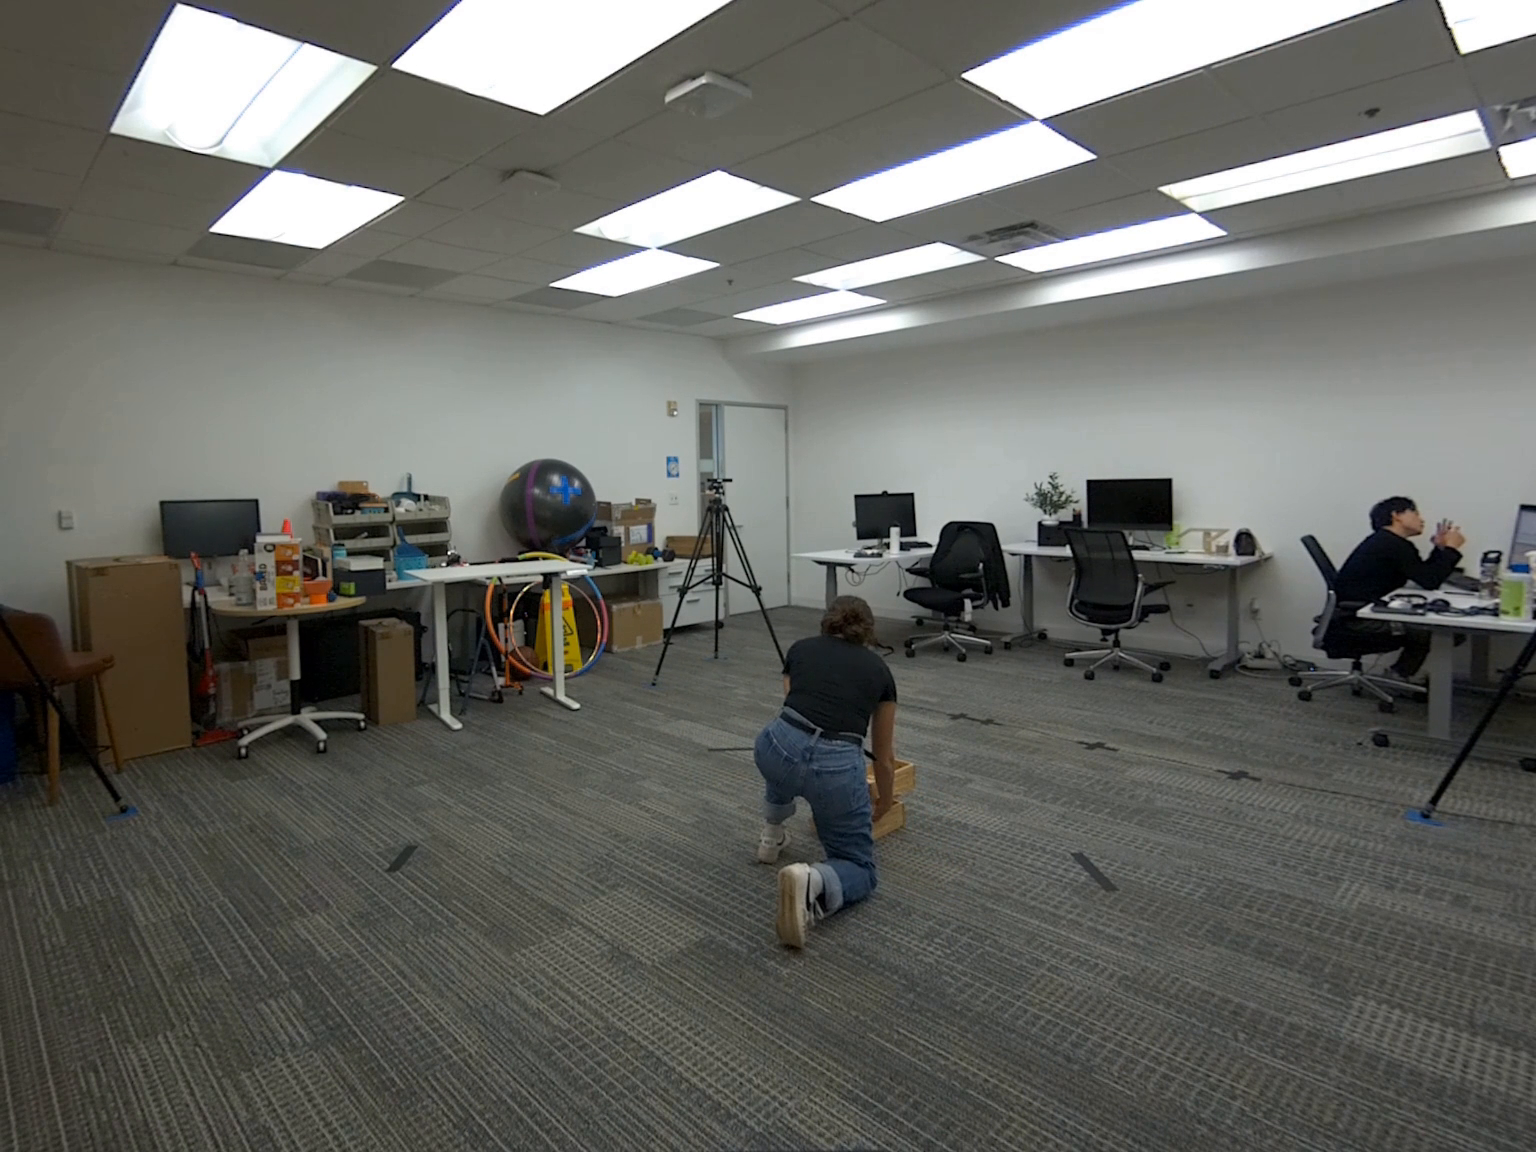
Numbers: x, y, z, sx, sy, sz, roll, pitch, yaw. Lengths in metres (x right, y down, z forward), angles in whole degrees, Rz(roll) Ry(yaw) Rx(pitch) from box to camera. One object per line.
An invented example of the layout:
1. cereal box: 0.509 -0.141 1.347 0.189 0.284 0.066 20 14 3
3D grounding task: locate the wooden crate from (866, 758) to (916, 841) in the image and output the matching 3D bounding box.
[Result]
1. wooden crate: 0.375 0.875 3.388 0.311 0.272 0.316 4 7 43
